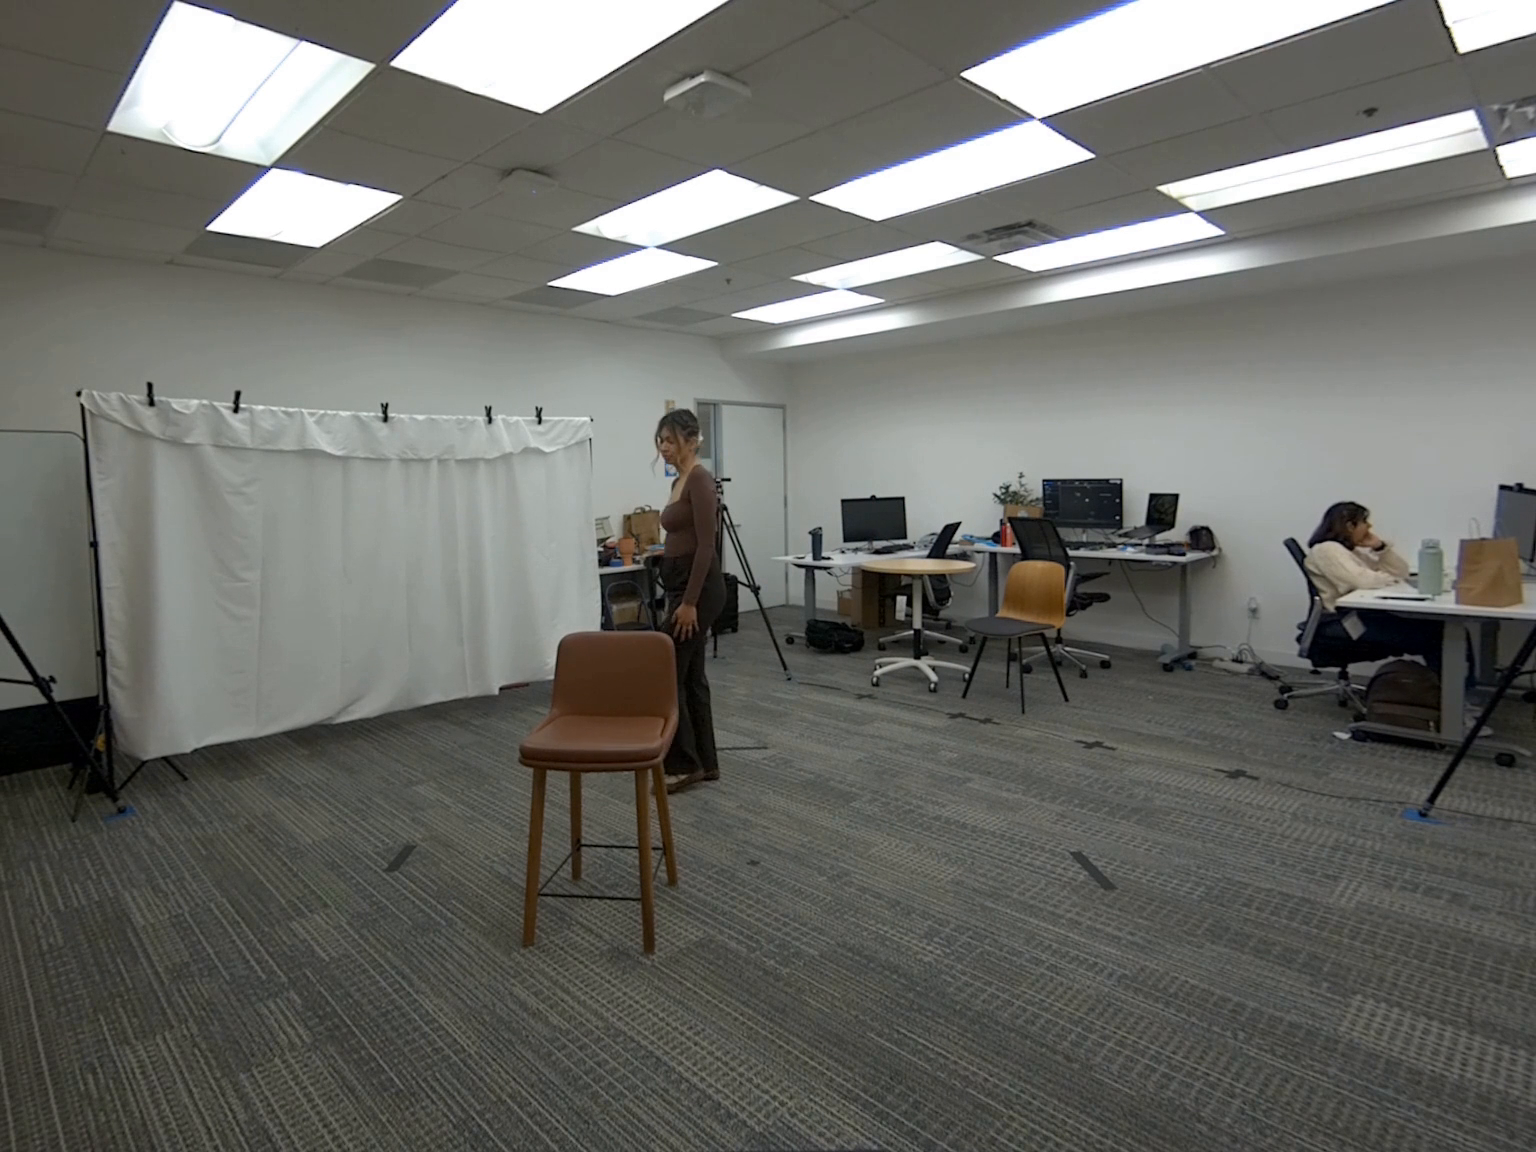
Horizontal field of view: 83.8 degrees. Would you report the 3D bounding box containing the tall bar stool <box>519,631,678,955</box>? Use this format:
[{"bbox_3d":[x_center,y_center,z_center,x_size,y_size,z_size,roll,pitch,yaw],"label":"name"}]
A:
[{"bbox_3d":[-0.530,0.658,2.749,0.460,0.888,0.465,0,3,7],"label":"tall bar stool"}]
